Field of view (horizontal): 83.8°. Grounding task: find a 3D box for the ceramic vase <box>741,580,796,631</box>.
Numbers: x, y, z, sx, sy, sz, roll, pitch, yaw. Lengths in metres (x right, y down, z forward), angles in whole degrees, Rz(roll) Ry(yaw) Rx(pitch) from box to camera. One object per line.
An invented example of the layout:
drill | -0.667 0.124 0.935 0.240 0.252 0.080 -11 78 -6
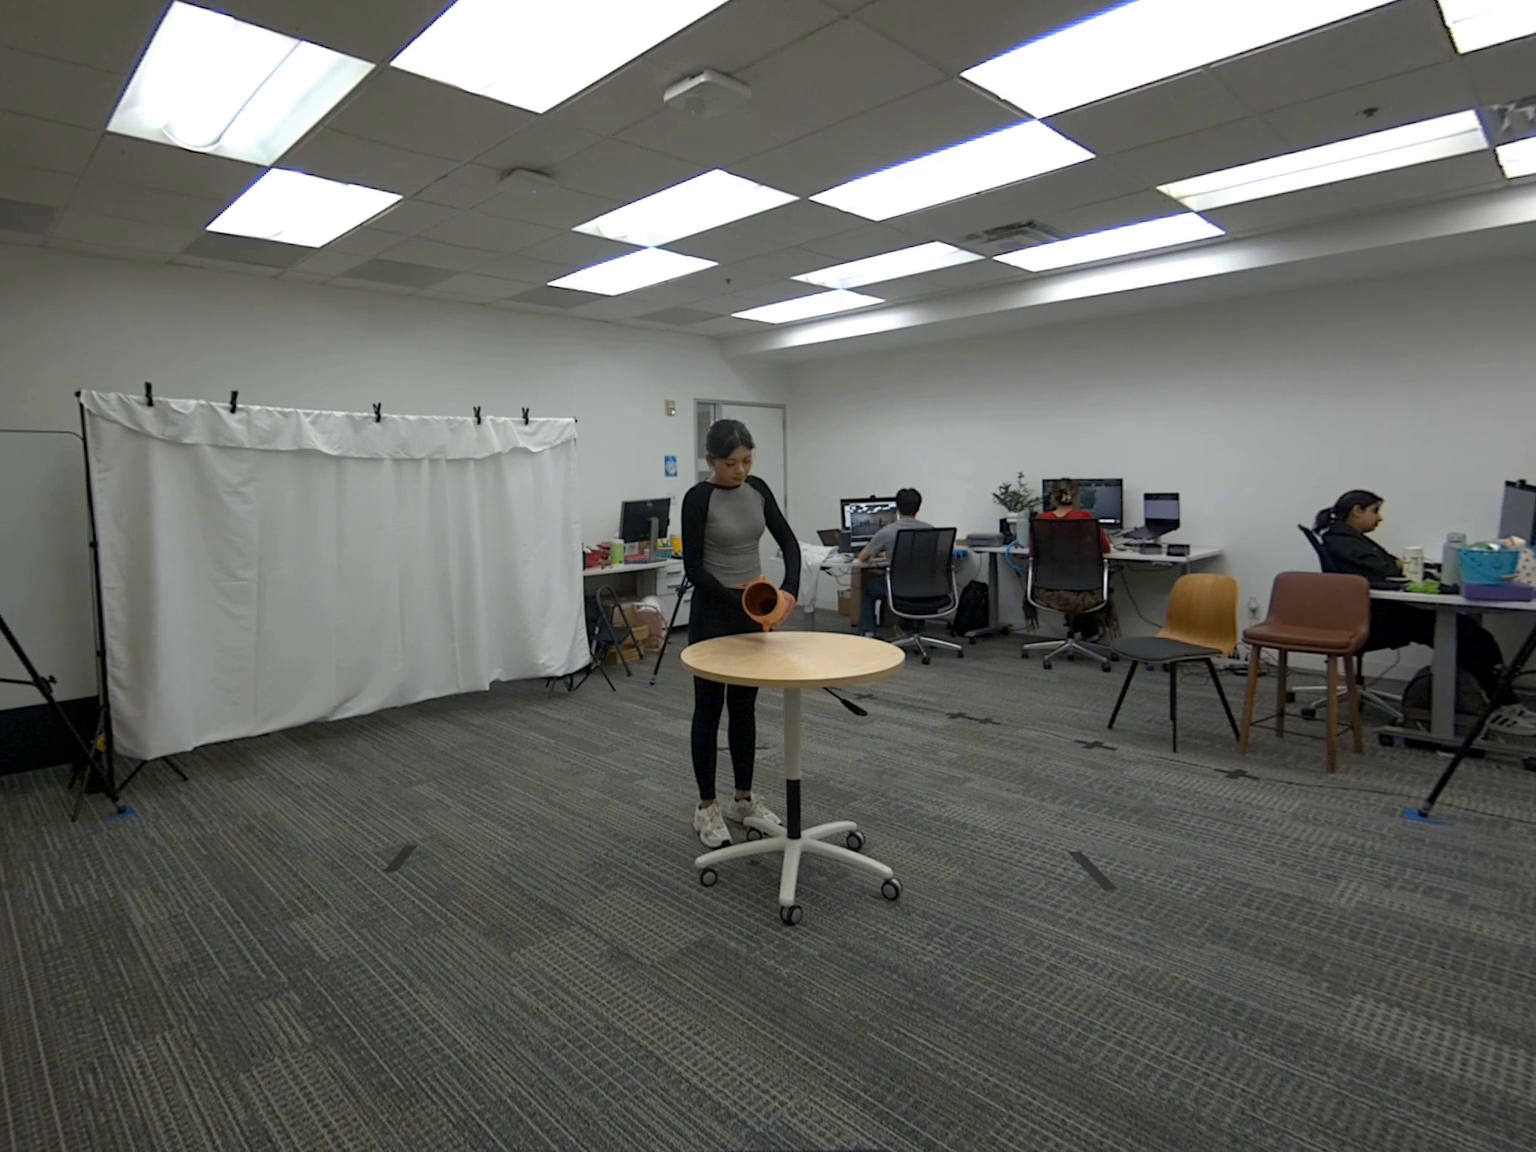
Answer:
ceramic vase | 0.007 0.107 3.010 0.138 0.159 0.214 35 -2 21
